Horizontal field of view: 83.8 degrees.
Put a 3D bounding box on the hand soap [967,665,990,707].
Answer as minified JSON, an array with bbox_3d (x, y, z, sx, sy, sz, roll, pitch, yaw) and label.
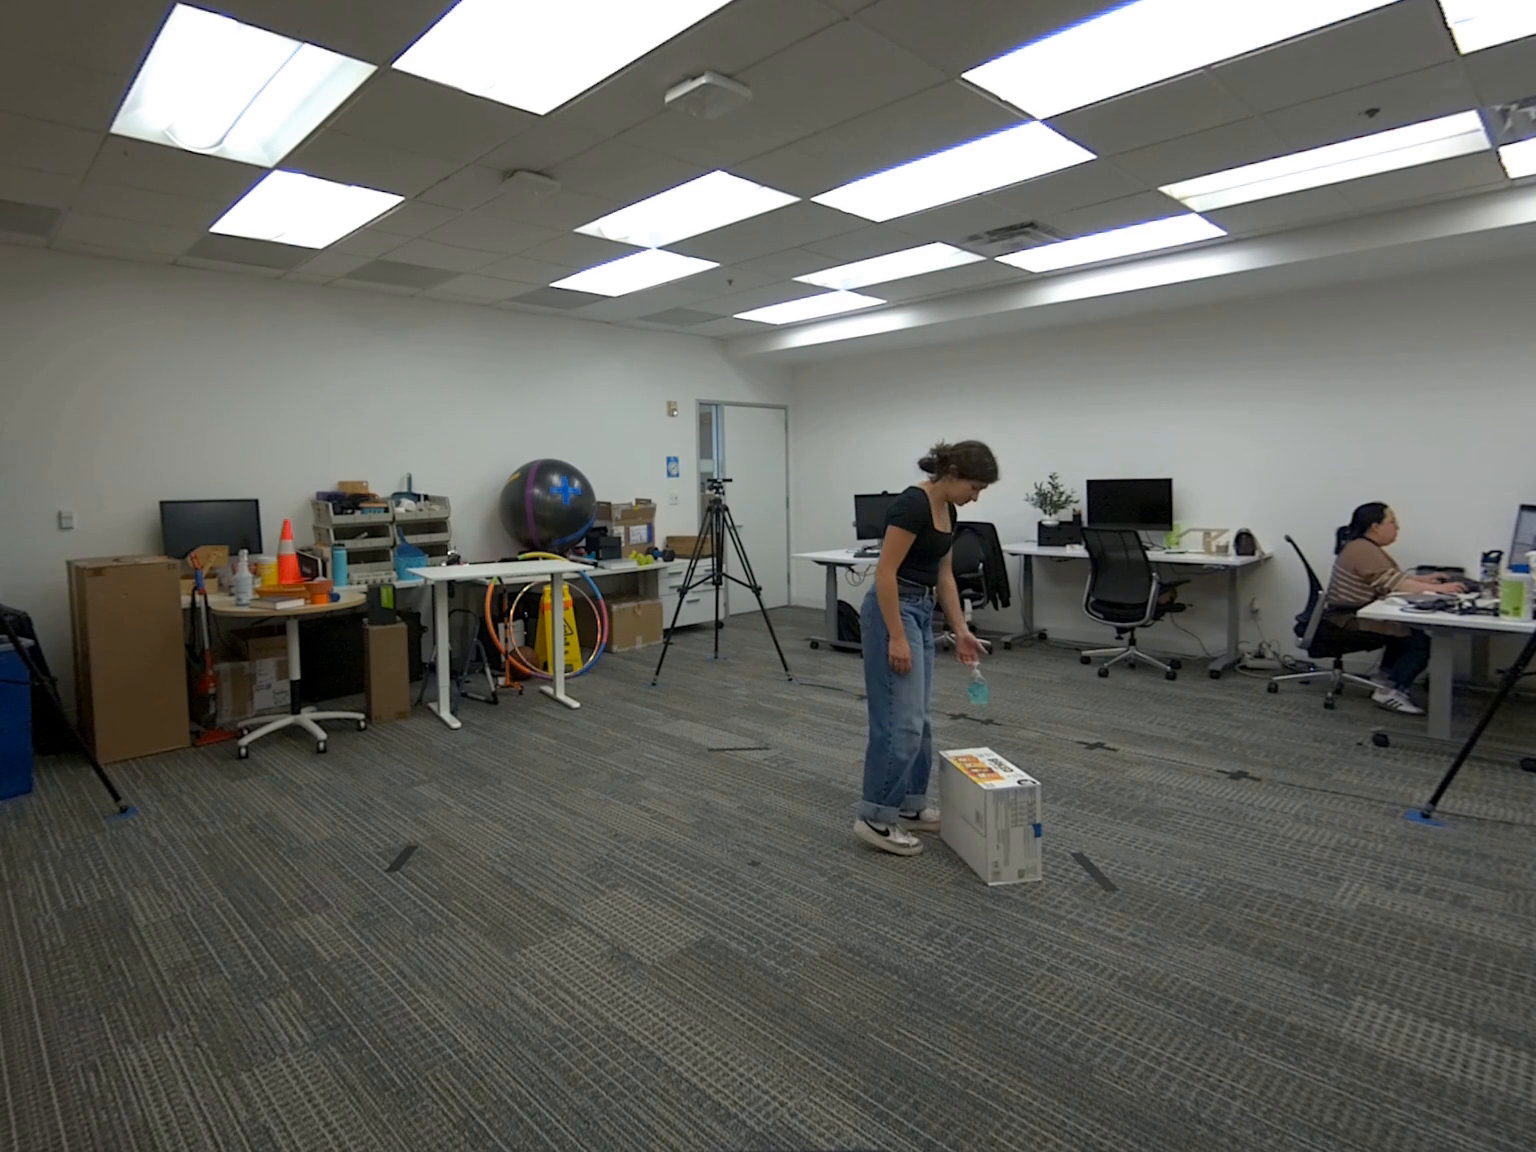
[{"bbox_3d":[0.805,0.414,3.323,0.086,0.167,0.043,-2,9,21],"label":"hand soap"}]
